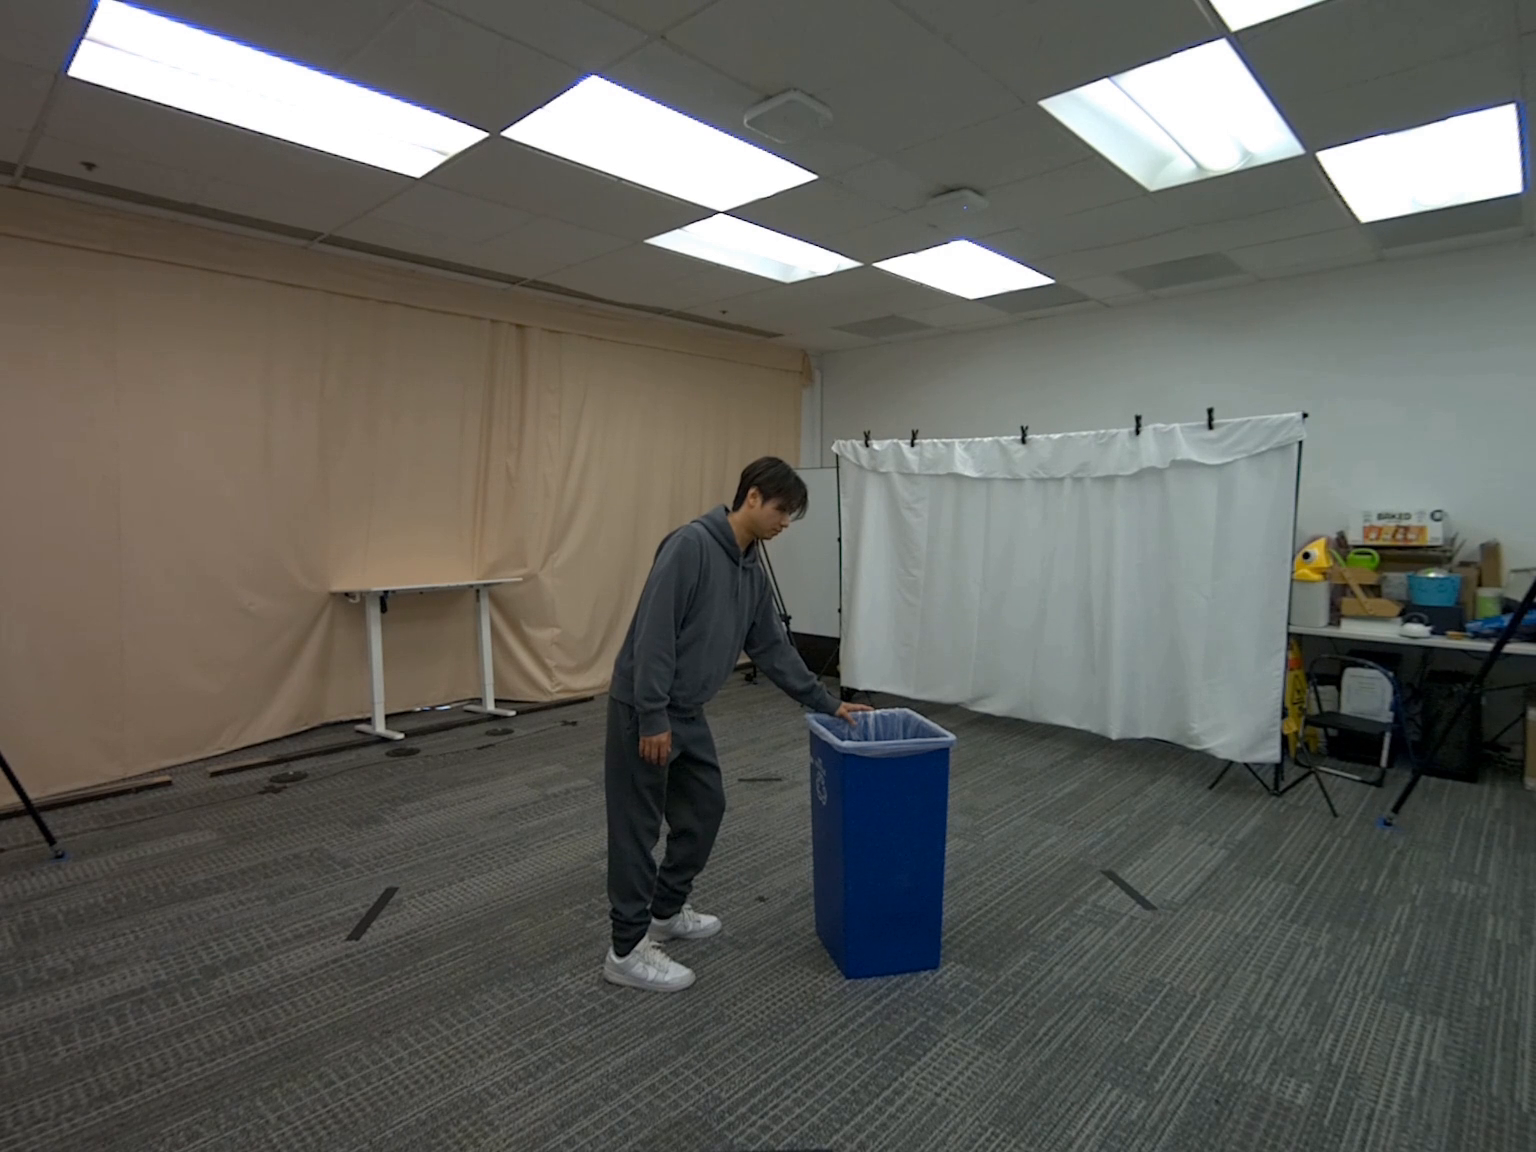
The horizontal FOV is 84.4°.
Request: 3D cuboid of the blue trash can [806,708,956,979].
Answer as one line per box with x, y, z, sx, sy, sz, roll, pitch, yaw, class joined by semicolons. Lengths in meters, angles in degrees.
0.346;0.821;2.617;0.373;0.712;0.380;-1;3;-13;blue trash can
